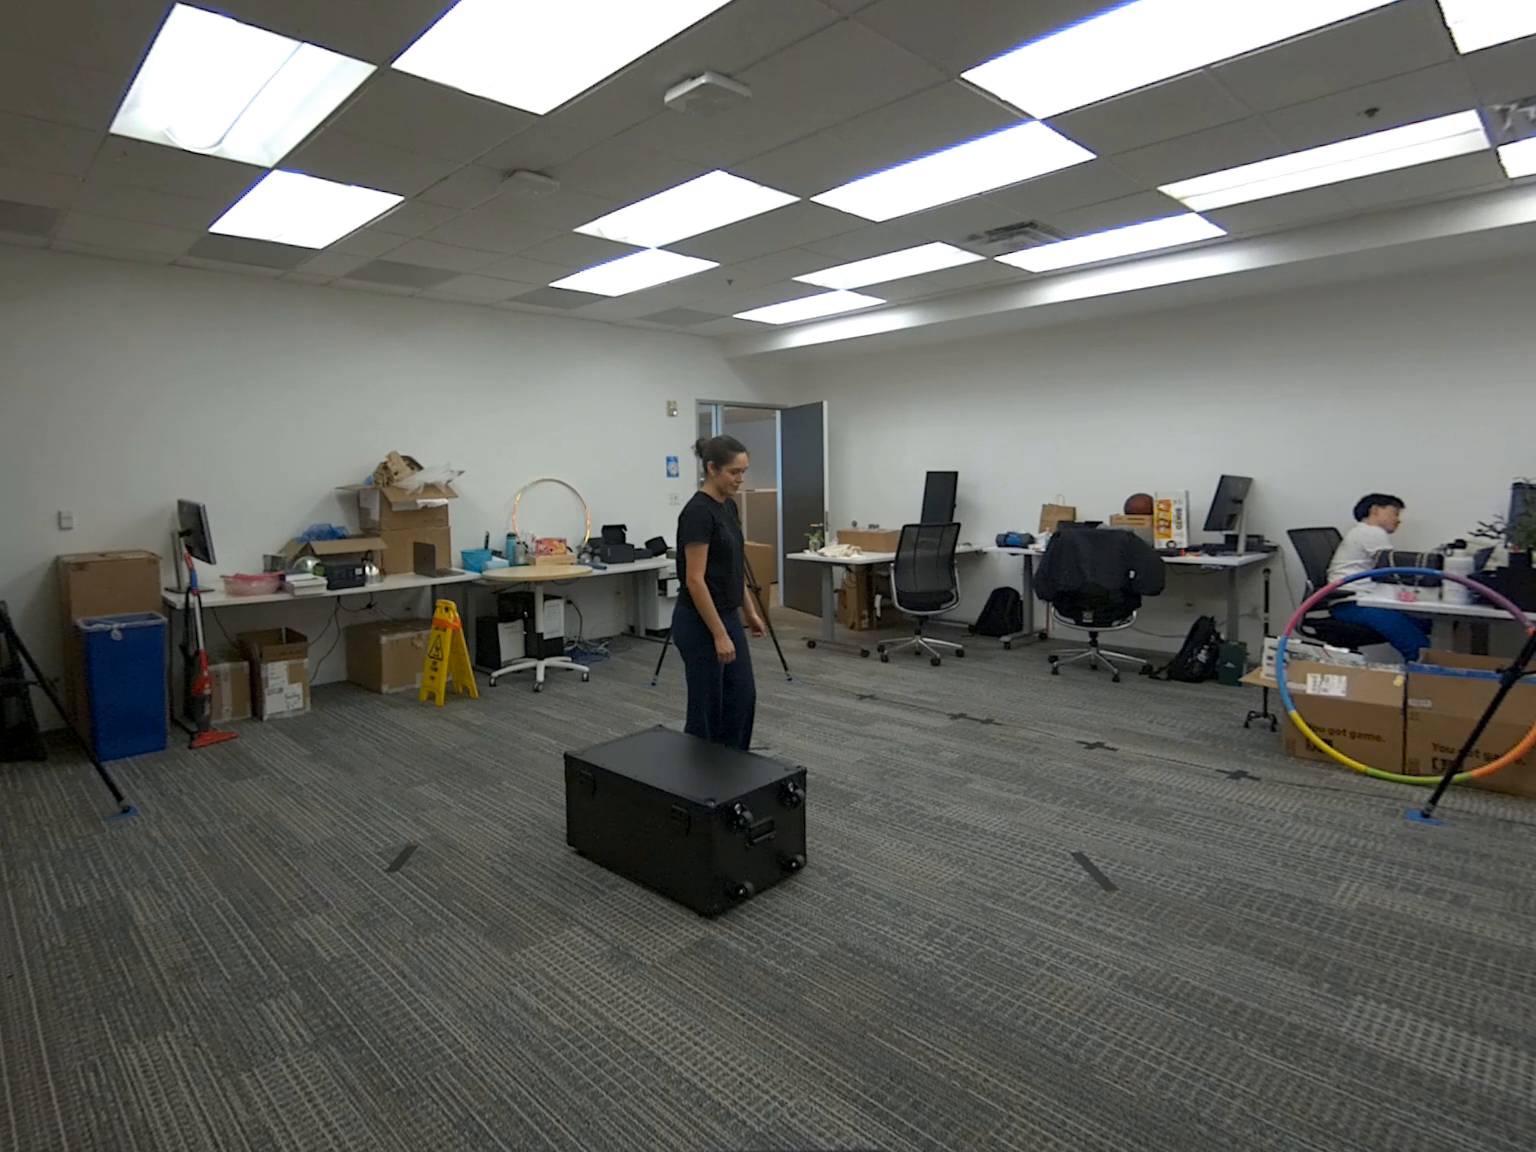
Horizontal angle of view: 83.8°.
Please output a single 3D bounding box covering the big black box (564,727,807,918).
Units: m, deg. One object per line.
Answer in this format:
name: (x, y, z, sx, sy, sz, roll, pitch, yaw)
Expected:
big black box: (-0.290, 0.858, 3.108, 0.888, 0.395, 0.508, 4, 7, 42)
